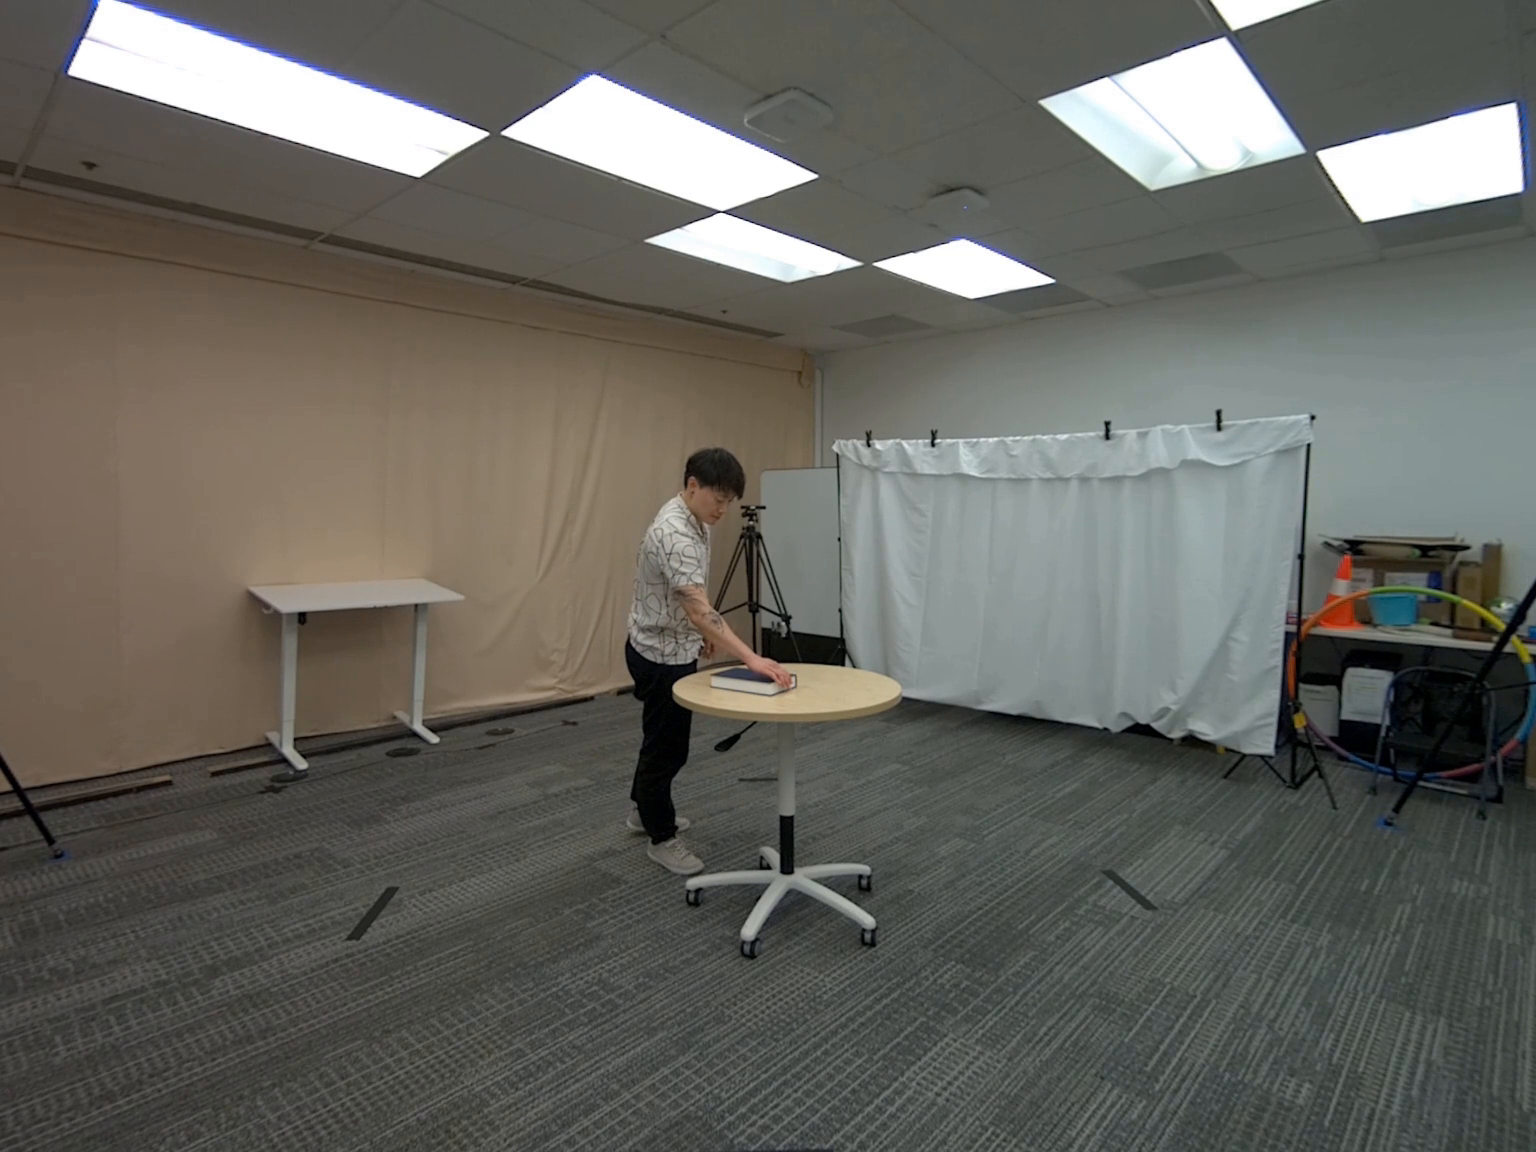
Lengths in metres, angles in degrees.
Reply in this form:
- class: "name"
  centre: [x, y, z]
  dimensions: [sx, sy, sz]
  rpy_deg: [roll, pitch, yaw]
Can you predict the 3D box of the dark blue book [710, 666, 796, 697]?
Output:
- class: "dark blue book"
  centre: [-0.051, 0.353, 2.813]
  dimensions: [0.253, 0.045, 0.159]
  rpy_deg: [4, 6, 34]
